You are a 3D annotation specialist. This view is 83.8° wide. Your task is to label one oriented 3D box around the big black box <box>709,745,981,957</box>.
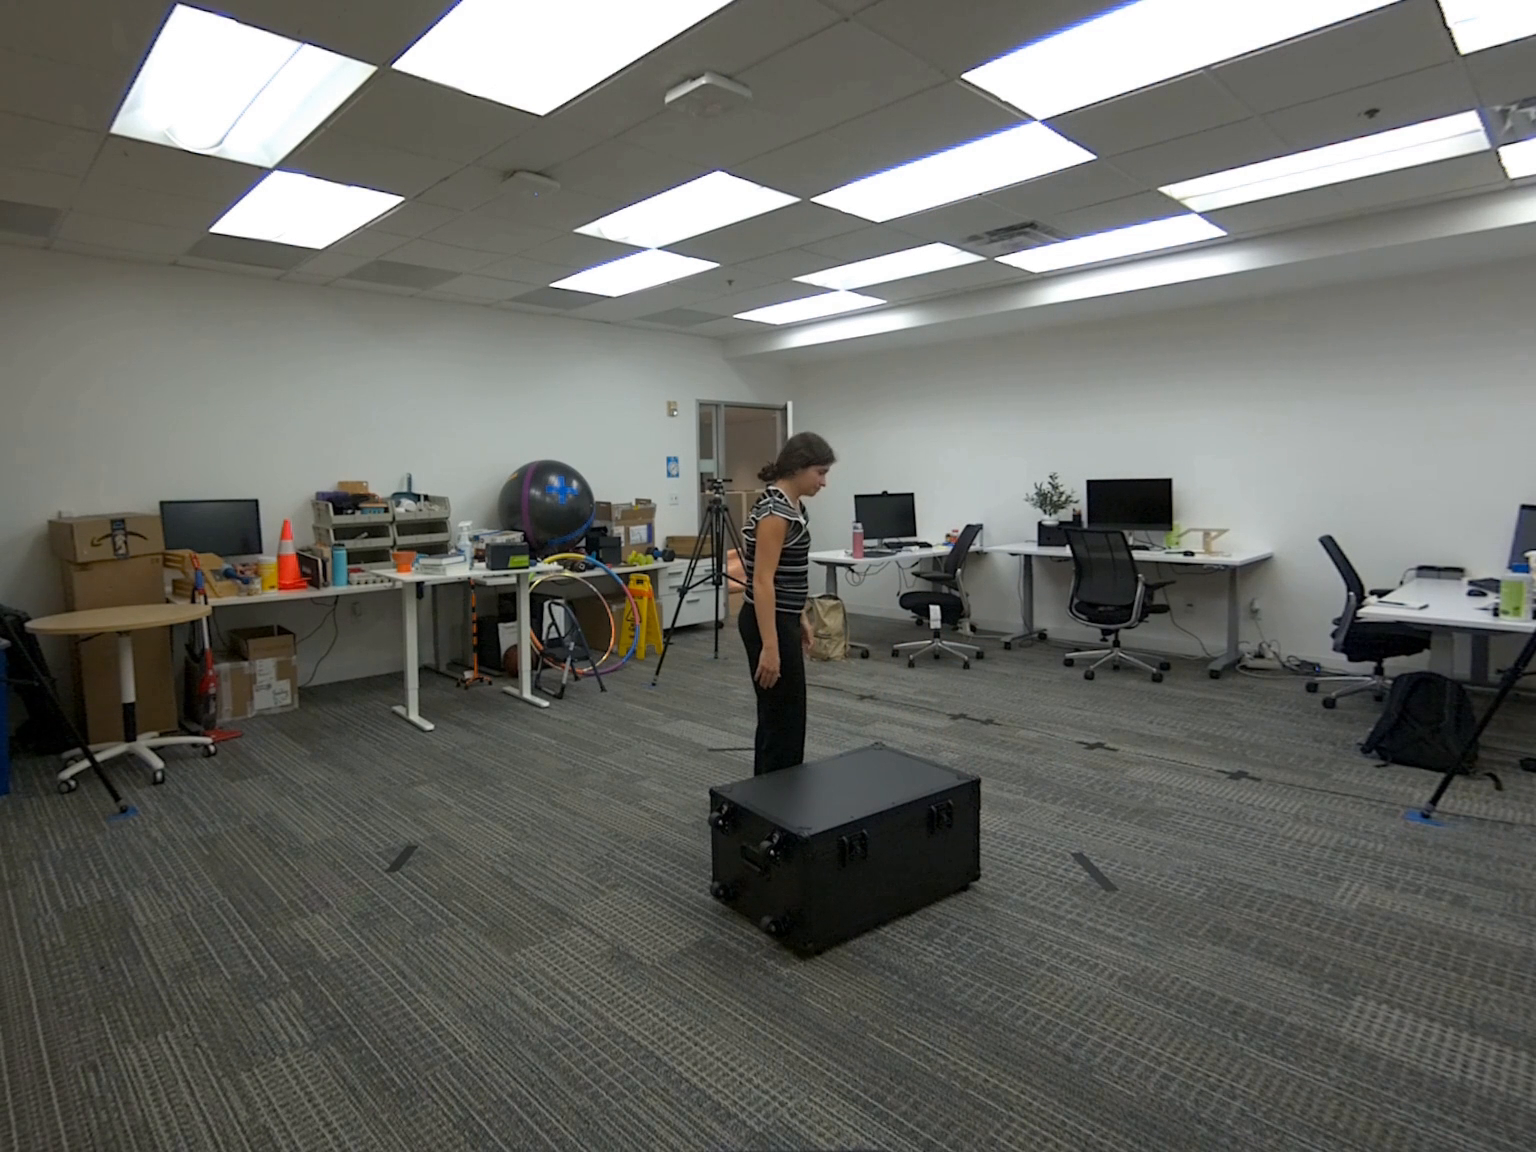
[{"bbox_3d":[0.240,0.880,2.846,0.839,0.395,0.537,-5,7,-36],"label":"big black box"}]
